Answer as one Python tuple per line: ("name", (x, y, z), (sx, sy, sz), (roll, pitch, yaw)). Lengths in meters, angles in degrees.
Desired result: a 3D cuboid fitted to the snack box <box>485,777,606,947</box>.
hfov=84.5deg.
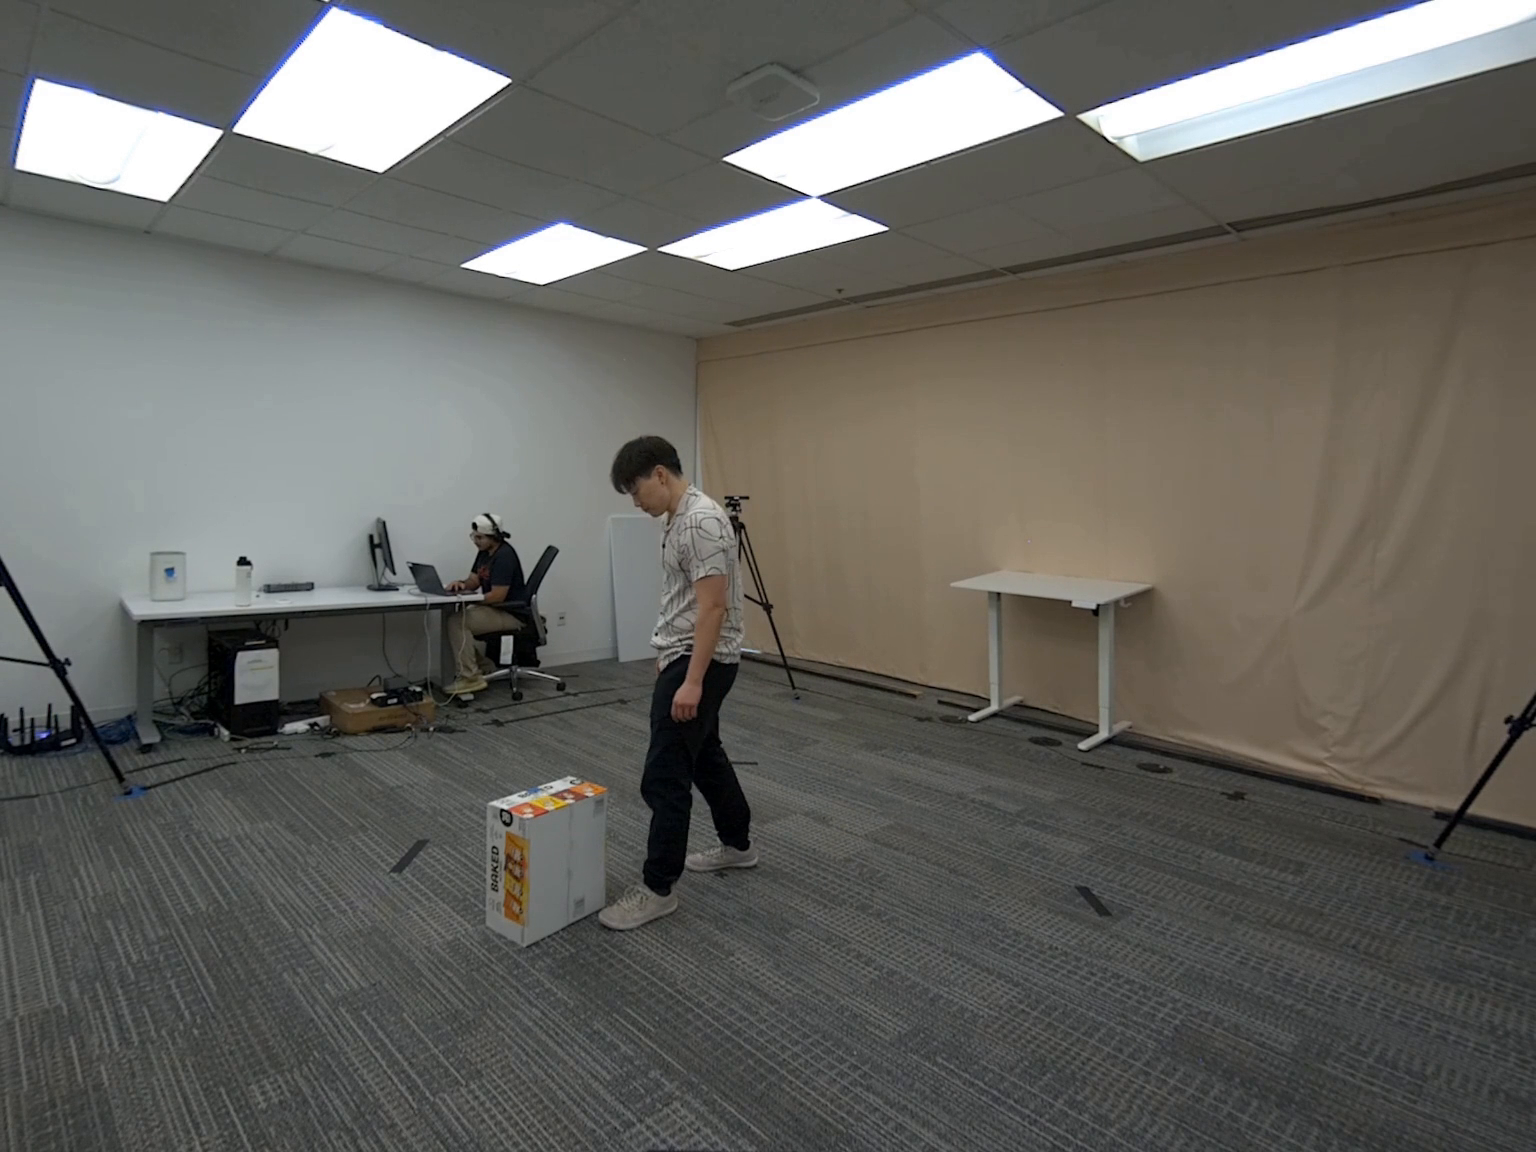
("snack box", (-0.726, 0.921, 2.752), (0.211, 0.404, 0.333), (4, 4, 37))
